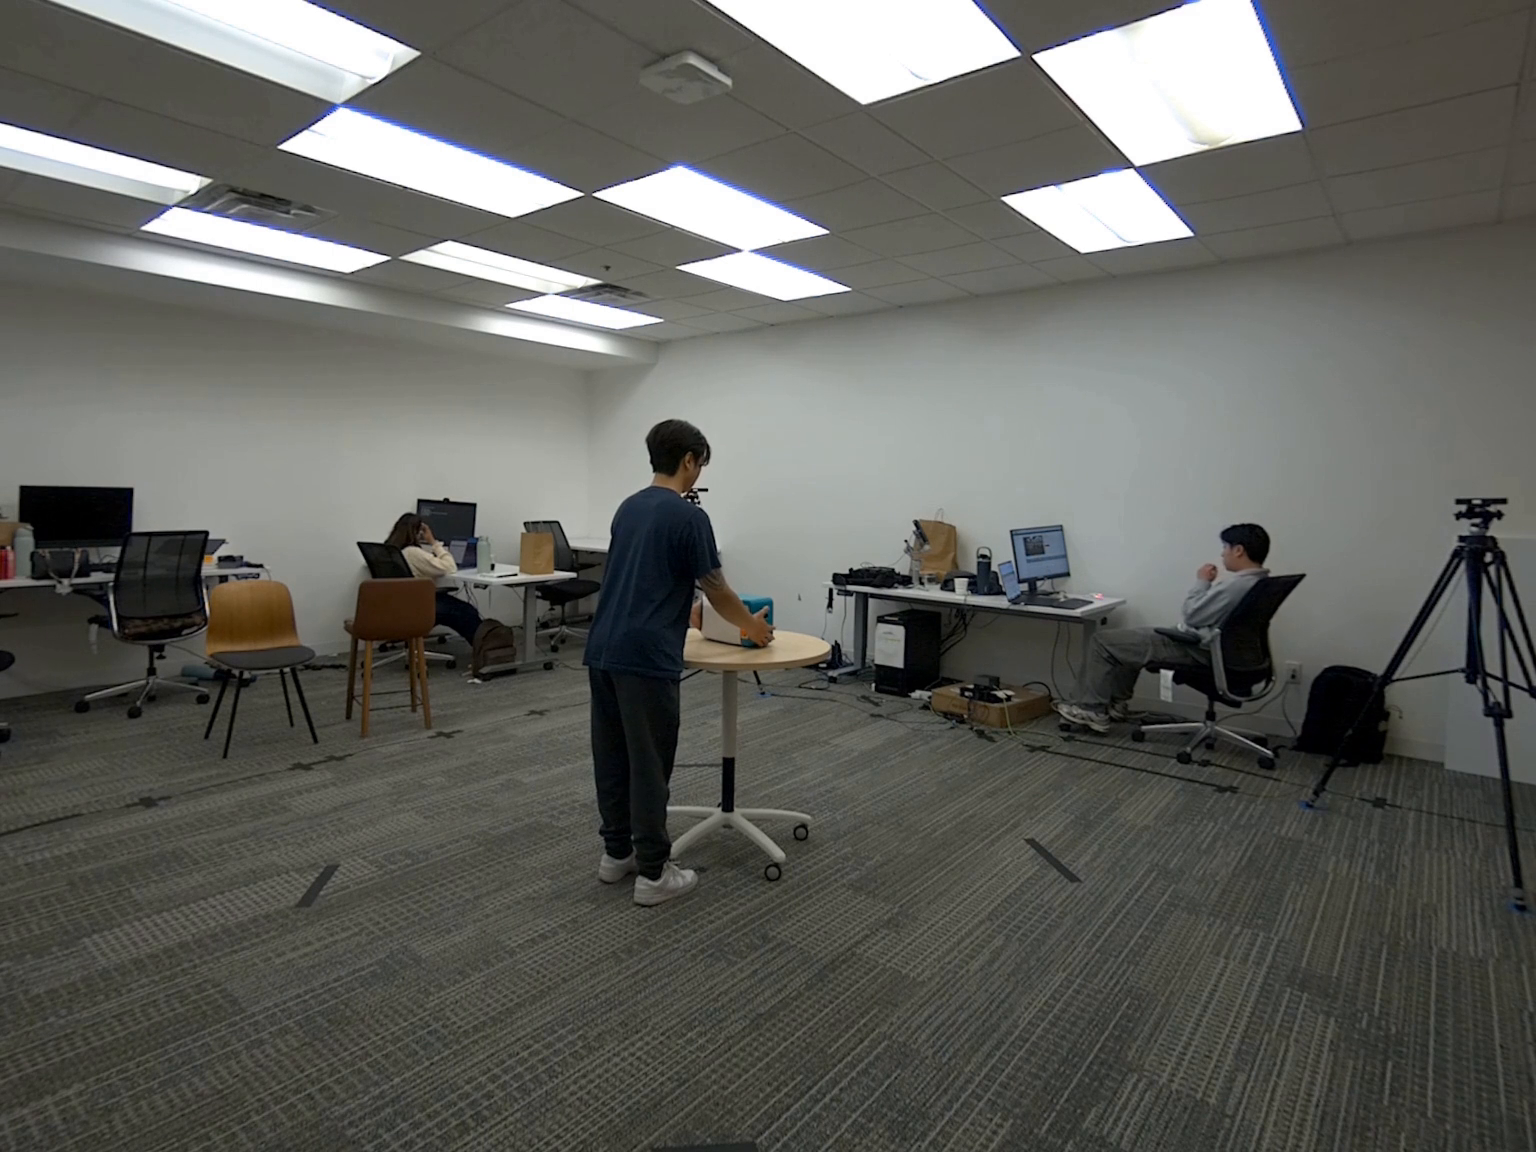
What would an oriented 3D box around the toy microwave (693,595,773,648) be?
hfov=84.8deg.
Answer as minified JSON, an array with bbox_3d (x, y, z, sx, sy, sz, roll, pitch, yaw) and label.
[{"bbox_3d":[-0.138,0.168,3.309,0.148,0.183,0.296,-3,6,-45],"label":"toy microwave"}]
